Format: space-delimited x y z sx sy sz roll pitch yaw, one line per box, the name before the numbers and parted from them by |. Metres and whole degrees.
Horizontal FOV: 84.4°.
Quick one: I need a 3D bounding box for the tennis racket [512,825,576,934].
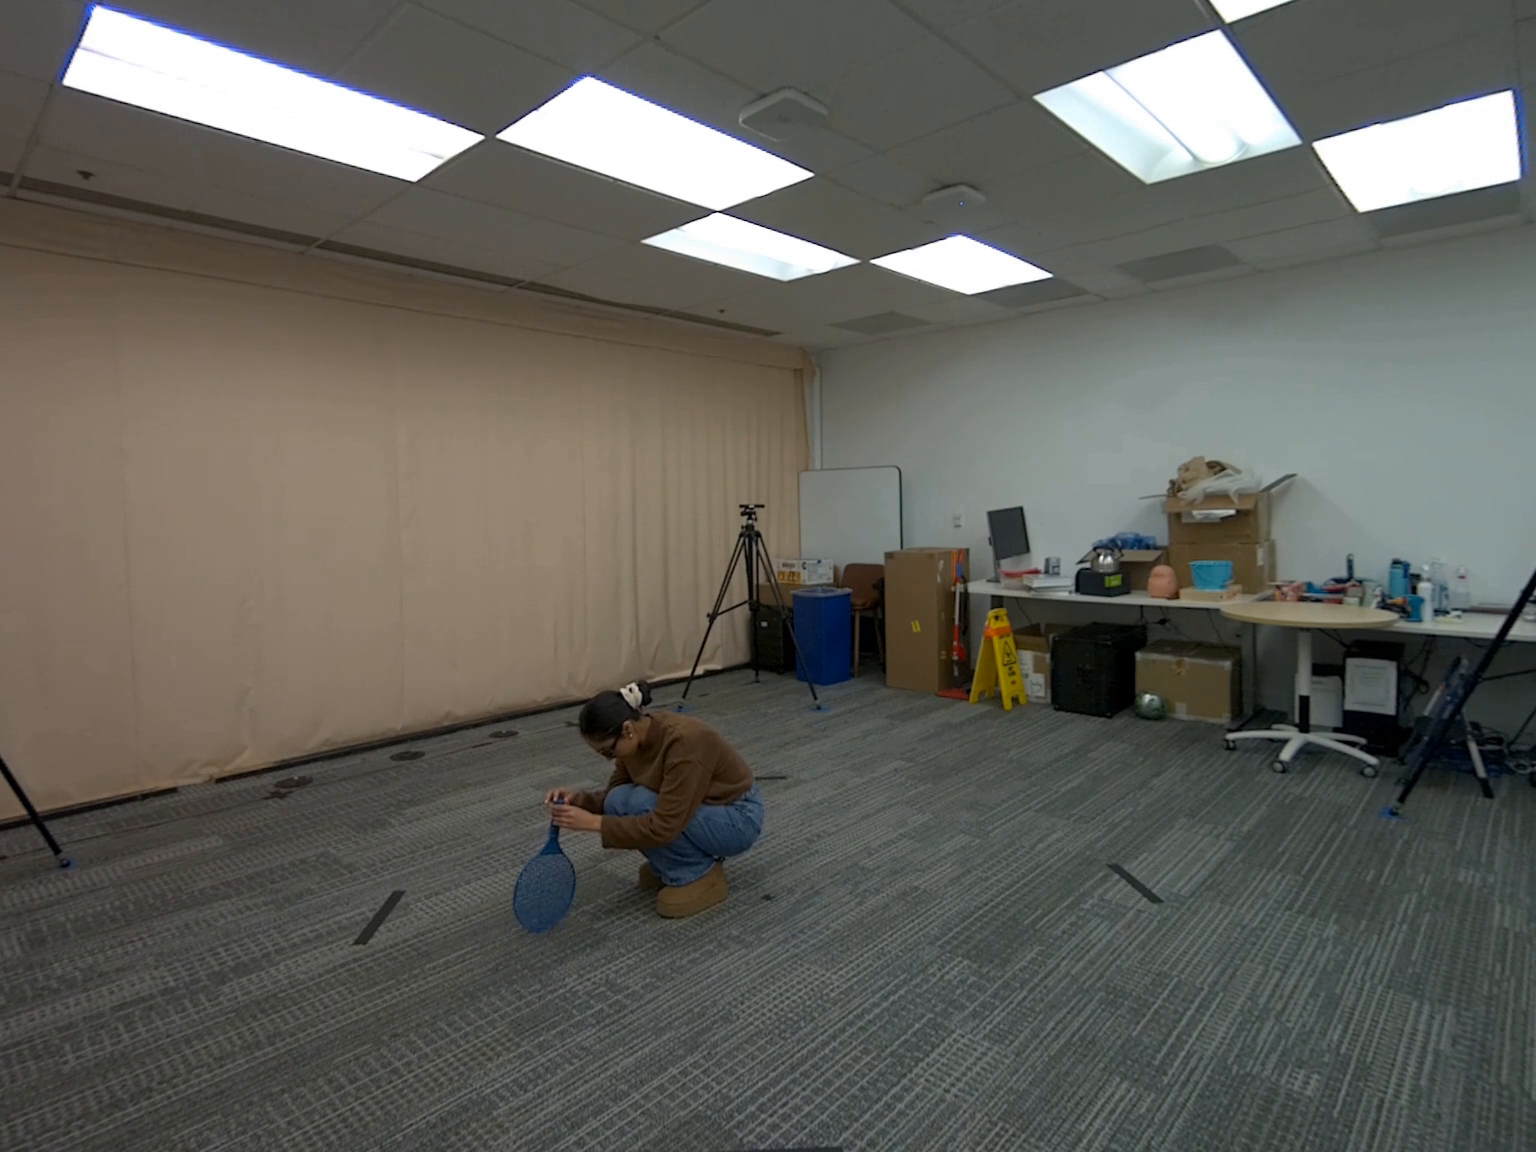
tennis racket | -0.726 0.958 2.780 0.207 0.432 0.033 4 3 -32
